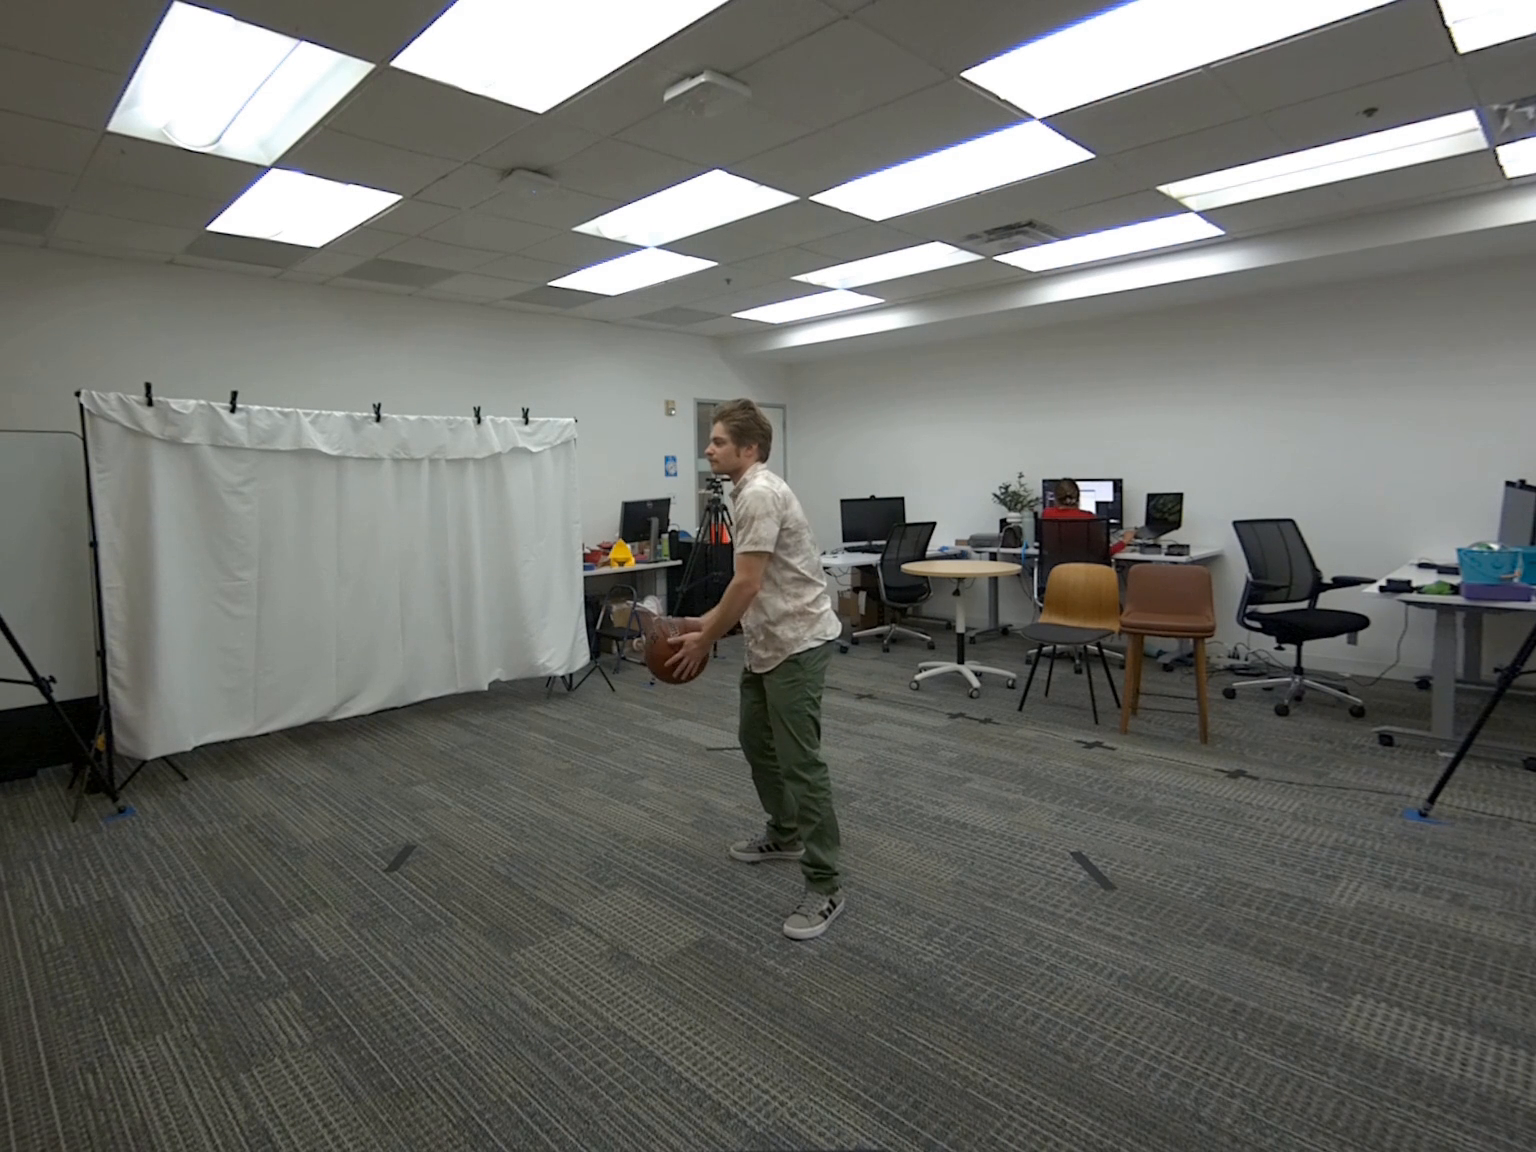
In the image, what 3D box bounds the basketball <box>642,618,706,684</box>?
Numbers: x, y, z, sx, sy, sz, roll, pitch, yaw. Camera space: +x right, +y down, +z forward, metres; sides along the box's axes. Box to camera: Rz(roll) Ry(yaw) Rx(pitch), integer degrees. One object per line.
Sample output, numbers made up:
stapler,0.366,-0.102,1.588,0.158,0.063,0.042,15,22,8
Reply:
basketball,-0.318,0.259,3.060,0.236,0.235,0.237,-1,5,-2
